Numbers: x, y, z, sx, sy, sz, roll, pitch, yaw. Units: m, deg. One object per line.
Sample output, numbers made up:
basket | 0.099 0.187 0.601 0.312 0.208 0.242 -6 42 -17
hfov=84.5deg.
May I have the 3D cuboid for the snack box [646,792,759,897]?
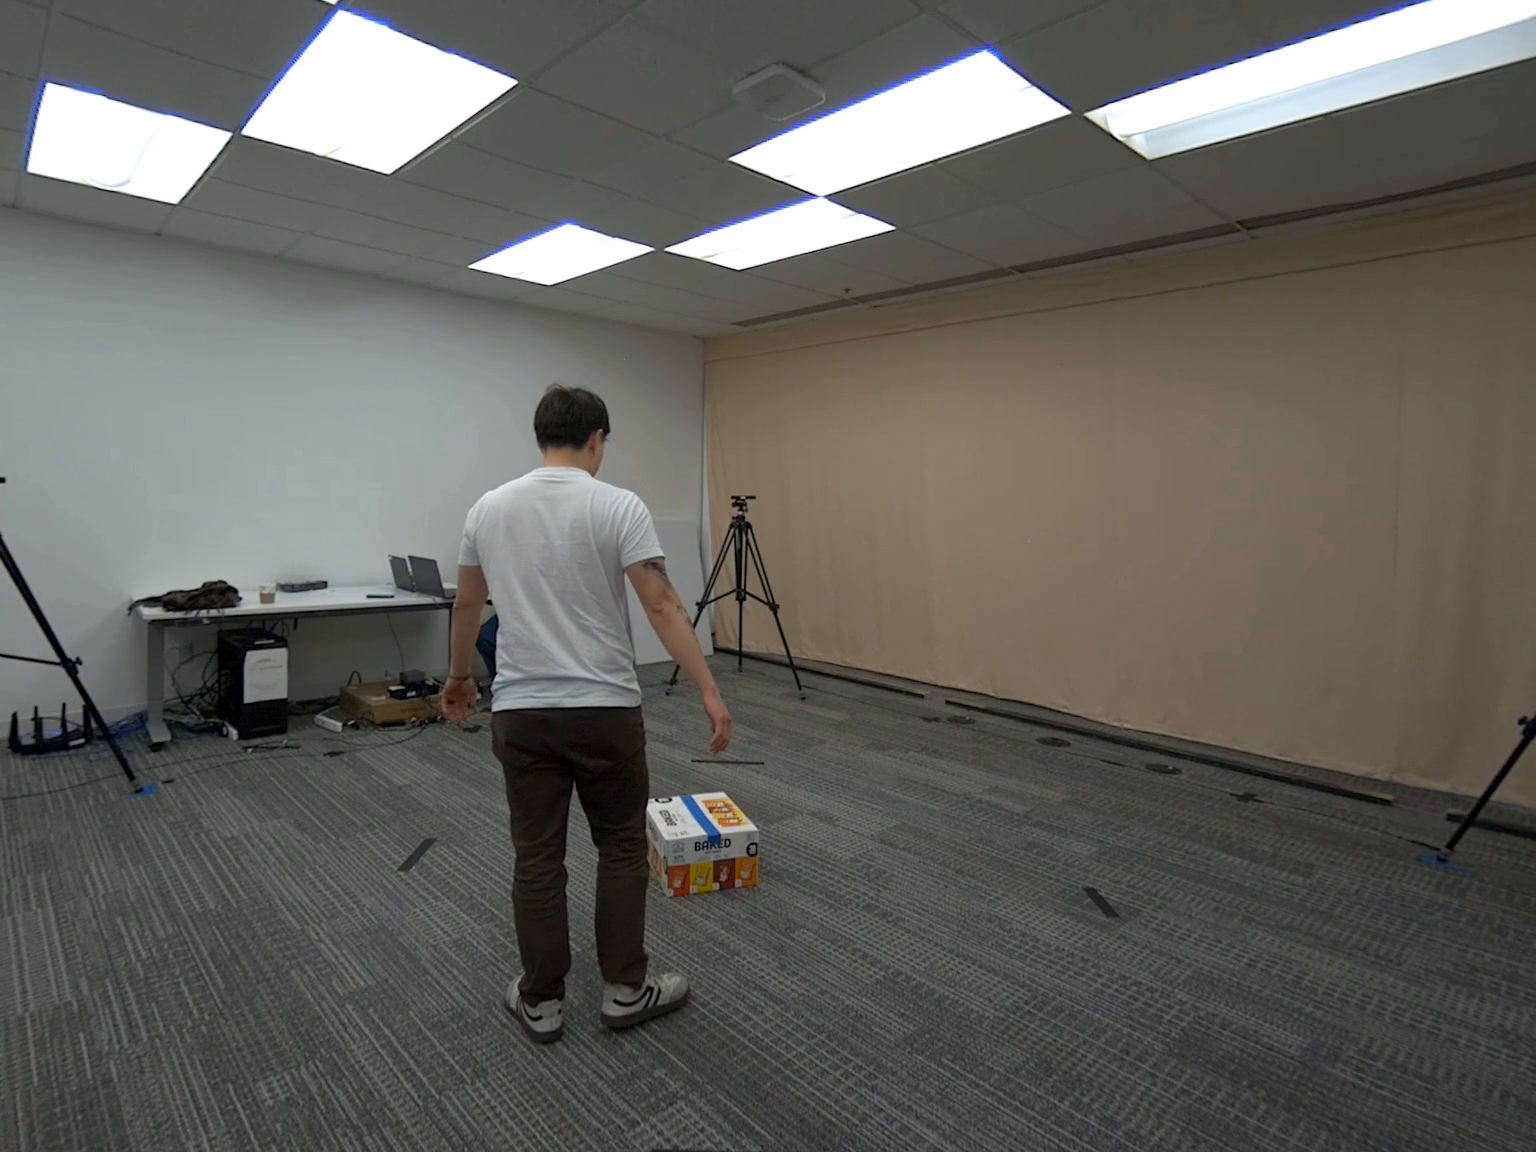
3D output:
snack box | -0.272 0.994 3.151 0.335 0.205 0.412 0 5 -20
